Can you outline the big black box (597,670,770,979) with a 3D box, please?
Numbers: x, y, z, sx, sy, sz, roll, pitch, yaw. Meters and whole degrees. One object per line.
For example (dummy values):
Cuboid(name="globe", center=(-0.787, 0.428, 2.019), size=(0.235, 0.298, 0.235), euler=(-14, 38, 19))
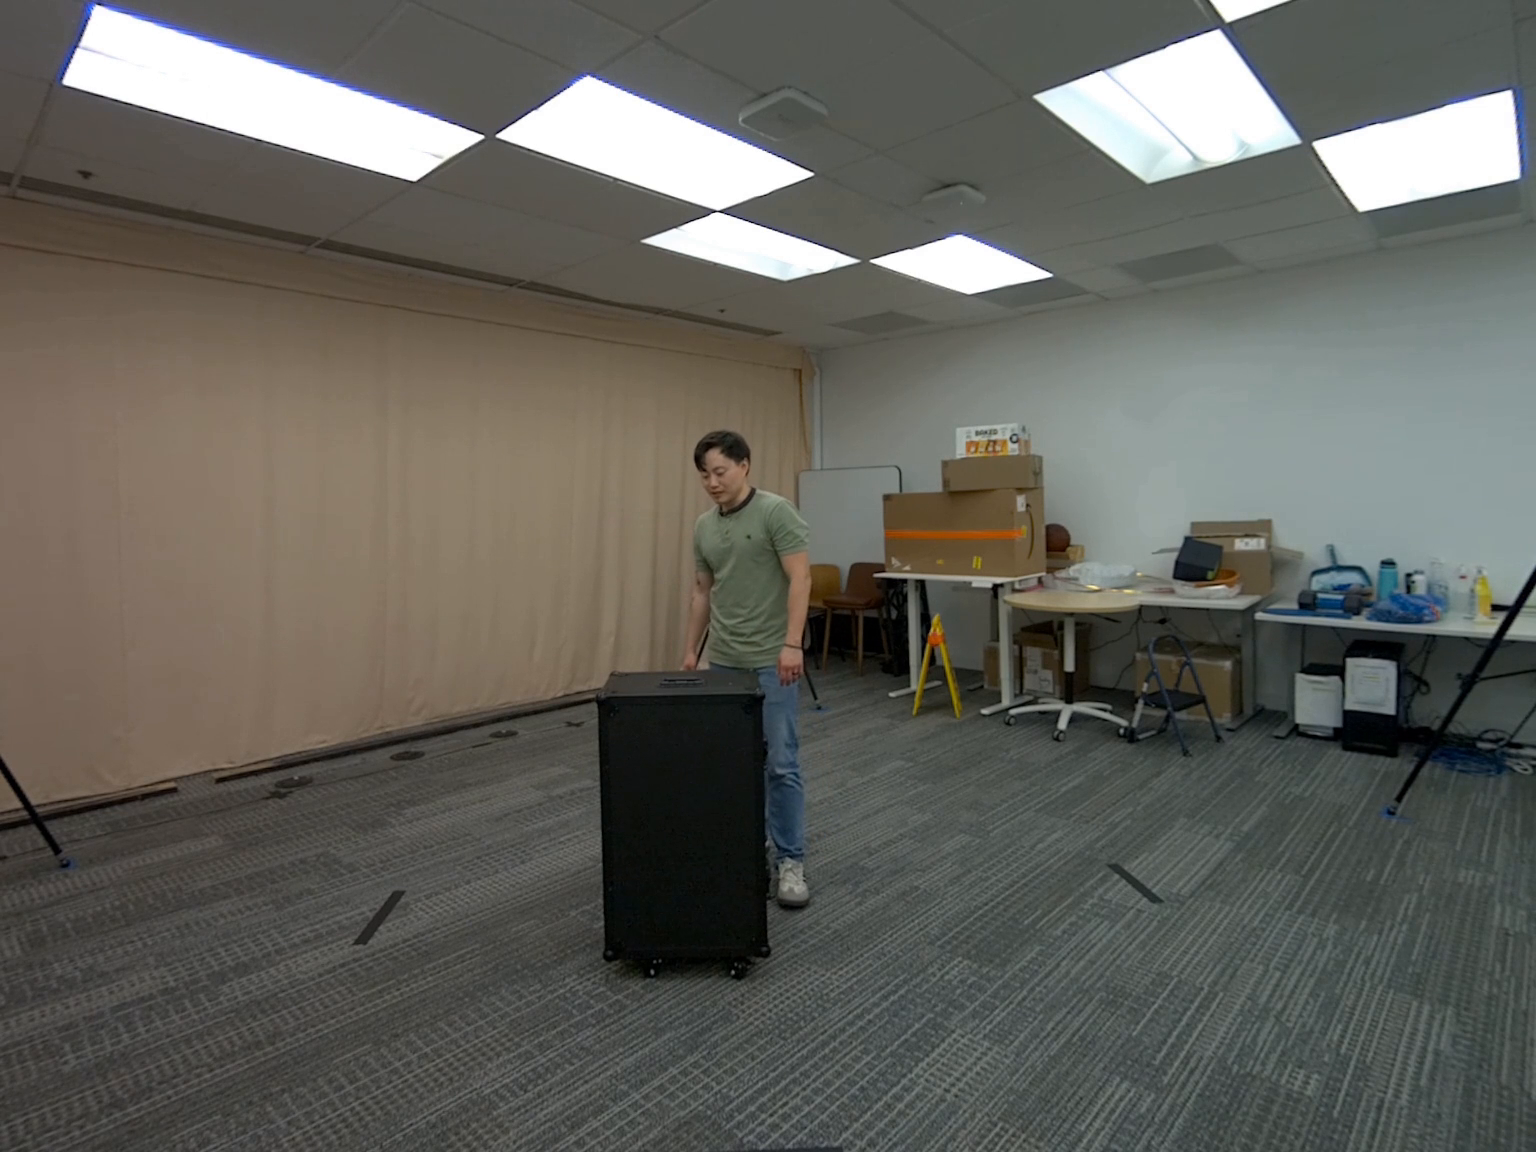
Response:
Cuboid(name="big black box", center=(-0.263, 0.749, 2.624), size=(0.521, 0.860, 0.397), euler=(-1, 2, 0))
